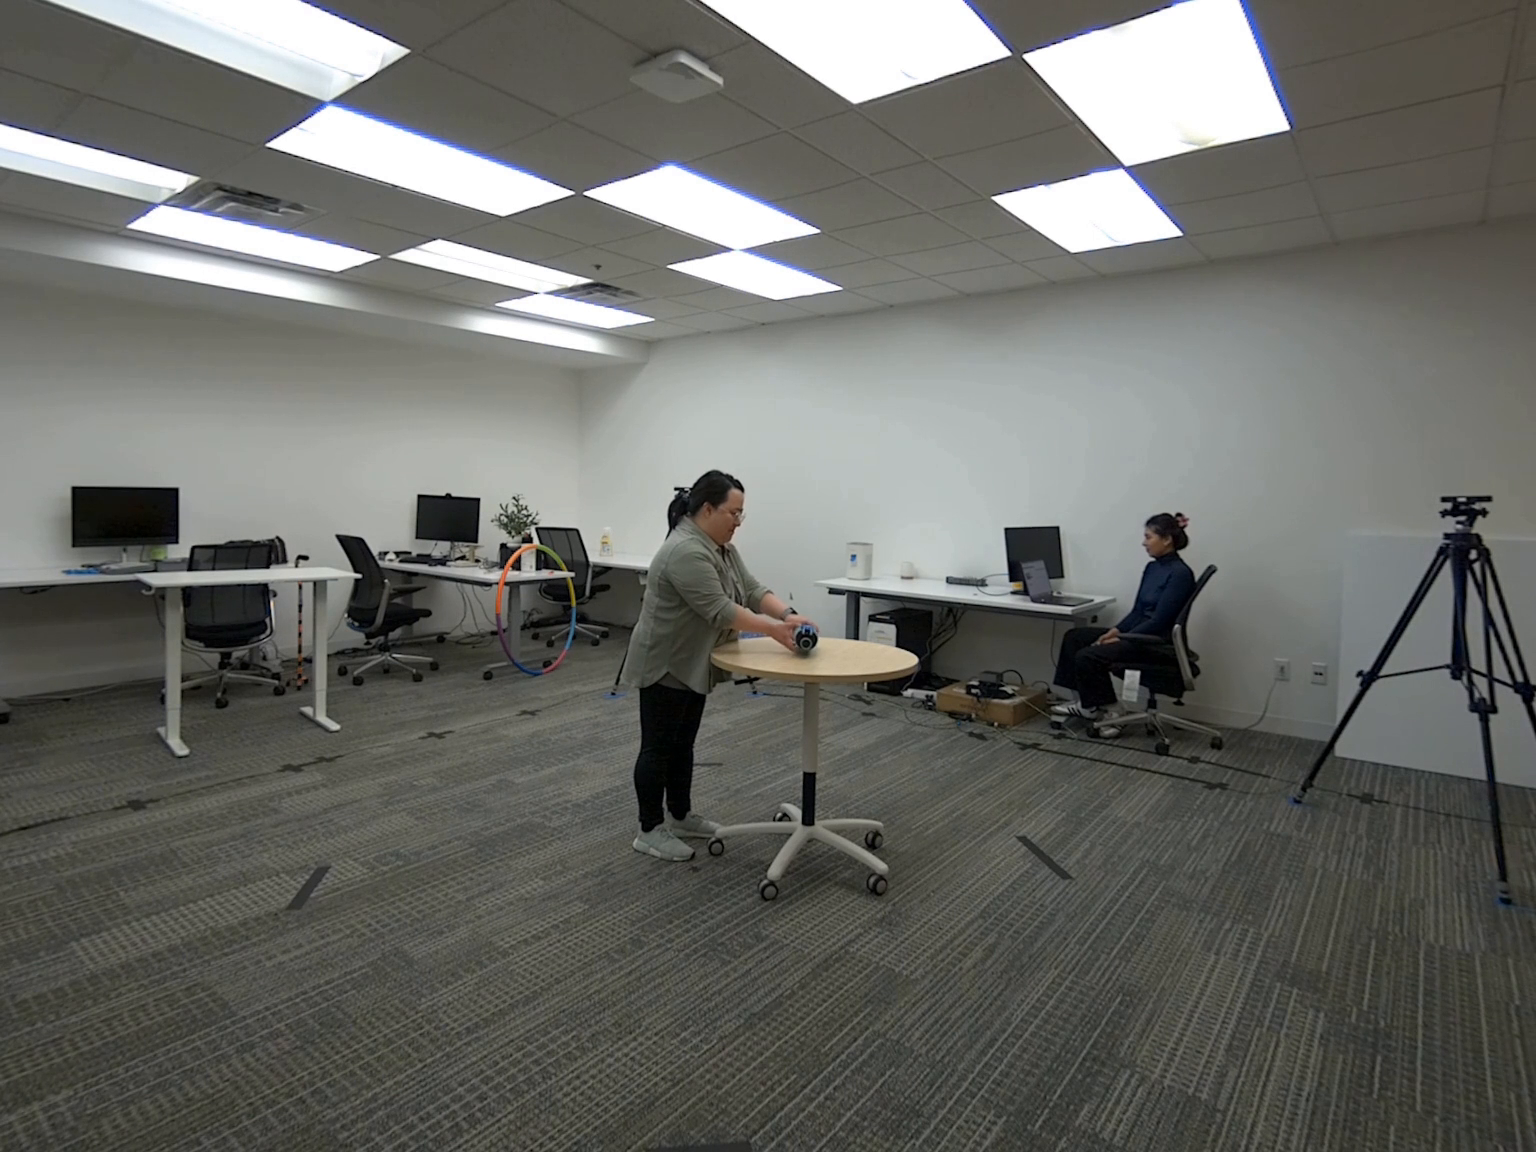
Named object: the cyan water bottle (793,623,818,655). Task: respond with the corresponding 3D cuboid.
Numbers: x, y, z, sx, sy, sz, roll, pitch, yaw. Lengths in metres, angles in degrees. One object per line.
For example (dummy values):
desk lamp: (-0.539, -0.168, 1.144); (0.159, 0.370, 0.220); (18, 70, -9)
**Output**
cyan water bottle: (0.135, 0.220, 3.182); (0.092, 0.092, 0.283); (1, 0, -2)
